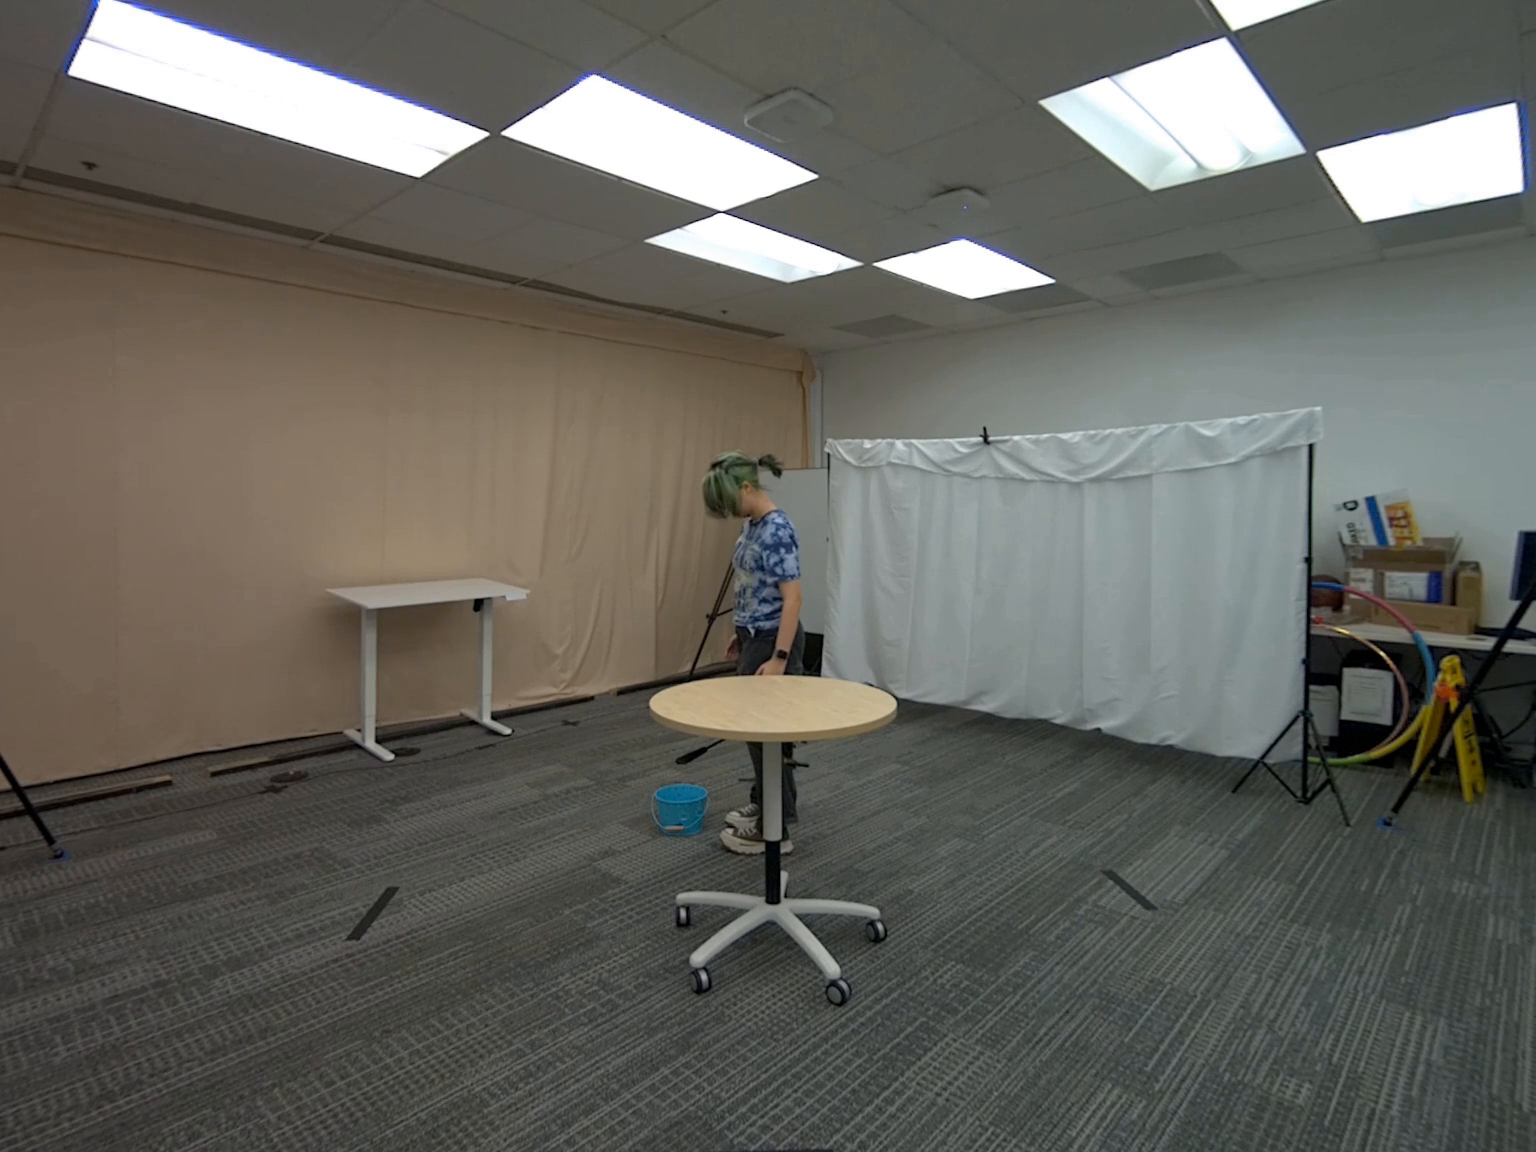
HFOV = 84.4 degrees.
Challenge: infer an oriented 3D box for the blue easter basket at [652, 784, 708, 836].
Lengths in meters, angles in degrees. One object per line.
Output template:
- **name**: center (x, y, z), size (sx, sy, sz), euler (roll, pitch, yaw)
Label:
- **blue easter basket**: center (-0.386, 1.020, 3.647), size (0.243, 0.155, 0.244), euler (-3, 3, -2)
